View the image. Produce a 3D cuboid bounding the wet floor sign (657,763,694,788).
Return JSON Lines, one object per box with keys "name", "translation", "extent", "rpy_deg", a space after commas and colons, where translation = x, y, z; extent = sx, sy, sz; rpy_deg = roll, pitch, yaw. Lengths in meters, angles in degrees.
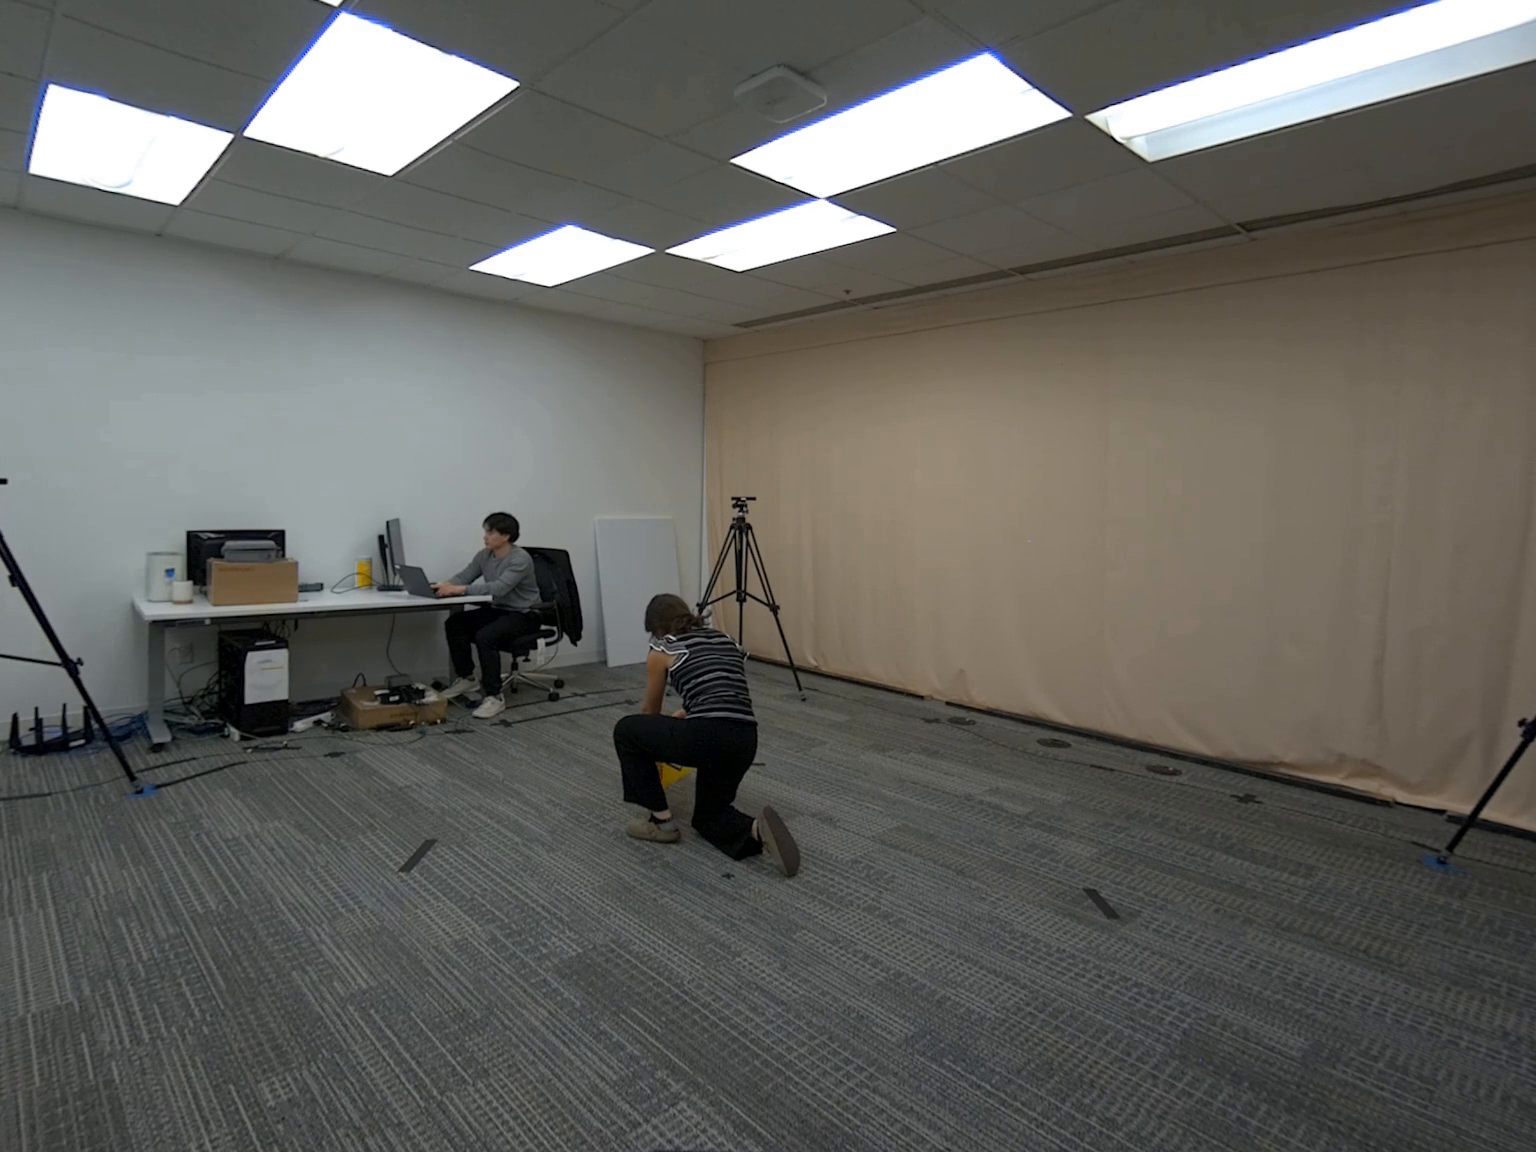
{"name": "wet floor sign", "translation": [-0.496, 0.820, 3.884], "extent": [0.293, 0.281, 0.642], "rpy_deg": [3, 8, 13]}
